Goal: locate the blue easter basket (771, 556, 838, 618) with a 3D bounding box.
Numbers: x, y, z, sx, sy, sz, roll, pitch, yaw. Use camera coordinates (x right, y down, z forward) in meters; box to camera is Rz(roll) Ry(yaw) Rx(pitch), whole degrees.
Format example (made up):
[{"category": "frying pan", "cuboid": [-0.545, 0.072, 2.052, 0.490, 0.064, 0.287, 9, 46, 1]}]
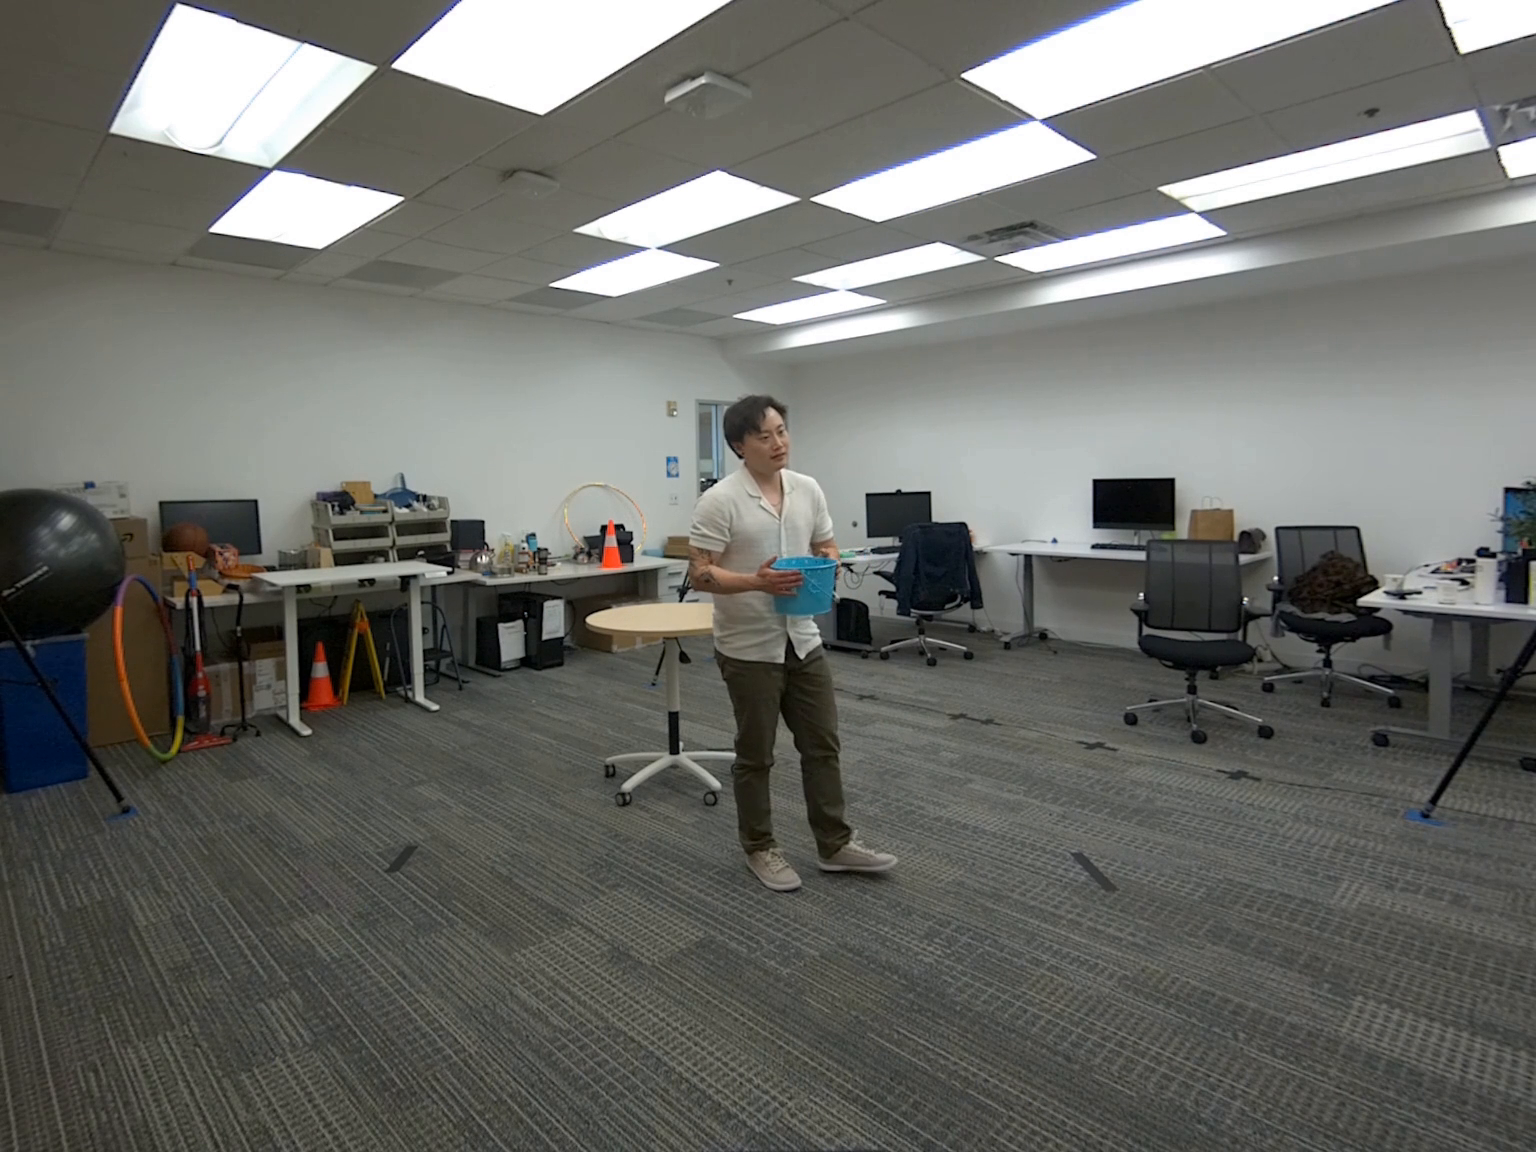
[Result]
[{"category": "blue easter basket", "cuboid": [0.102, 0.035, 2.721, 0.243, 0.155, 0.245, -2, 7, -1]}]
